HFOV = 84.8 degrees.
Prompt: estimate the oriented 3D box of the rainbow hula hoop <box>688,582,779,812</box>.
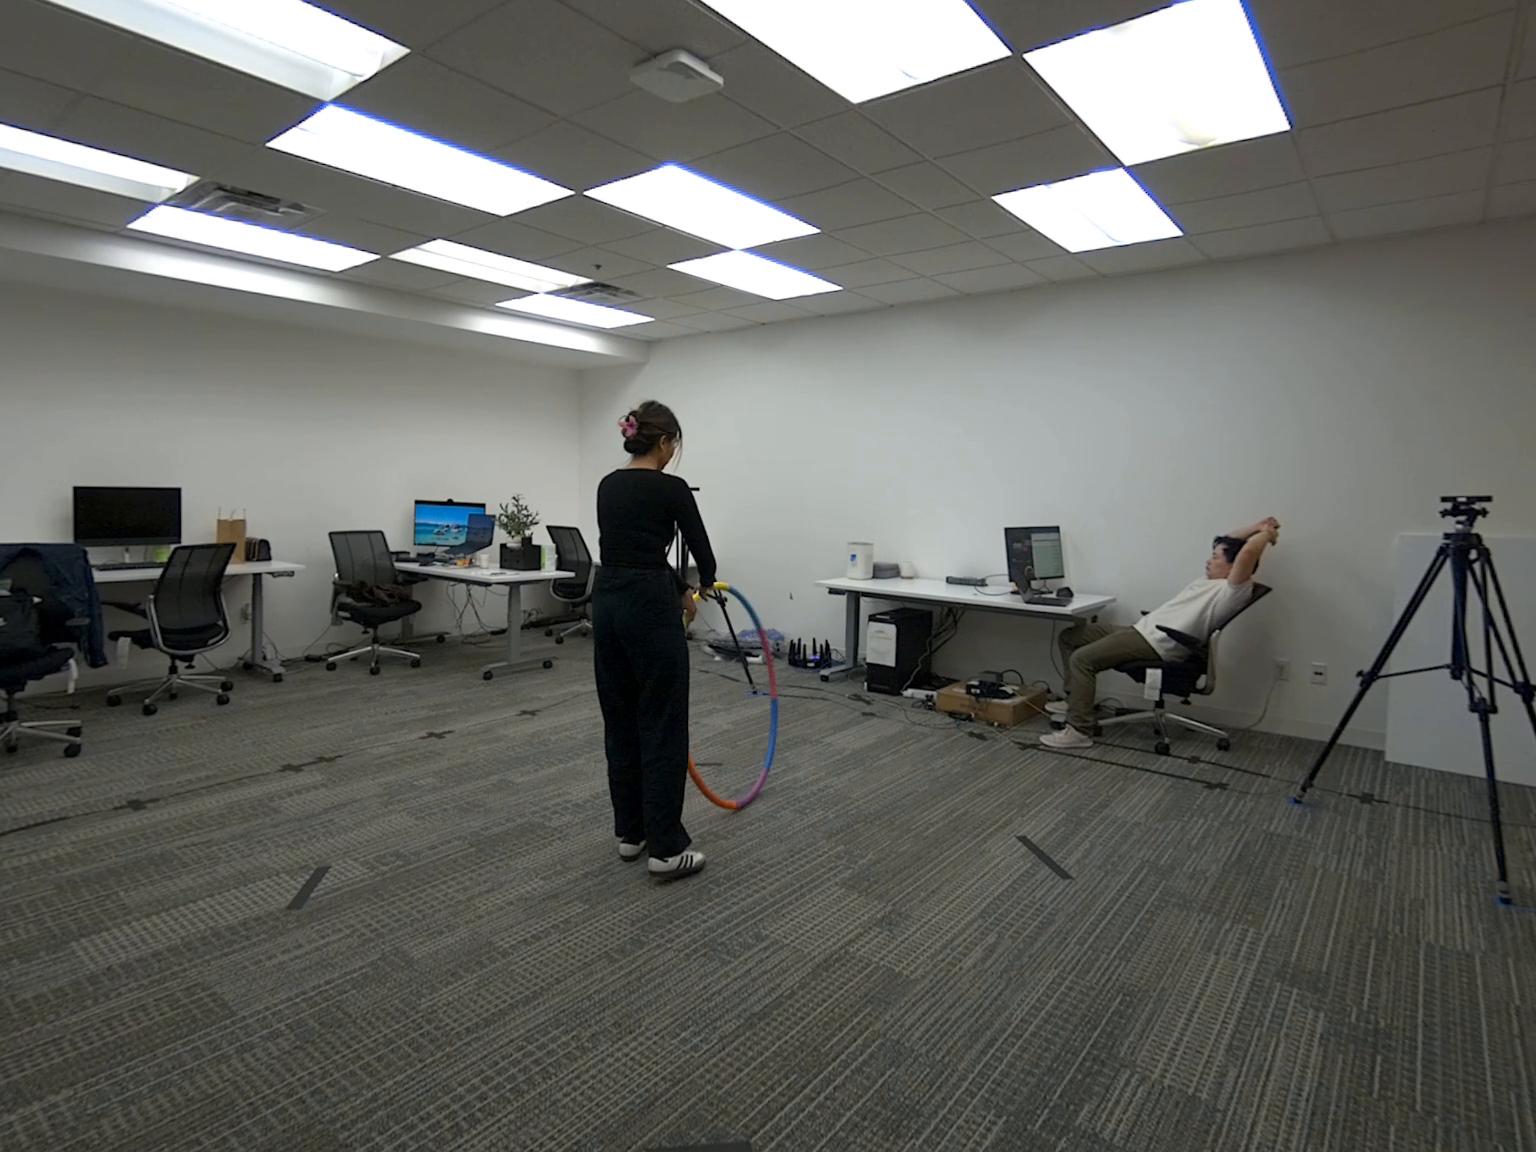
[{"bbox_3d":[-0.180,0.522,3.768,0.036,0.981,0.957,-10,-1,25],"label":"rainbow hula hoop"}]
